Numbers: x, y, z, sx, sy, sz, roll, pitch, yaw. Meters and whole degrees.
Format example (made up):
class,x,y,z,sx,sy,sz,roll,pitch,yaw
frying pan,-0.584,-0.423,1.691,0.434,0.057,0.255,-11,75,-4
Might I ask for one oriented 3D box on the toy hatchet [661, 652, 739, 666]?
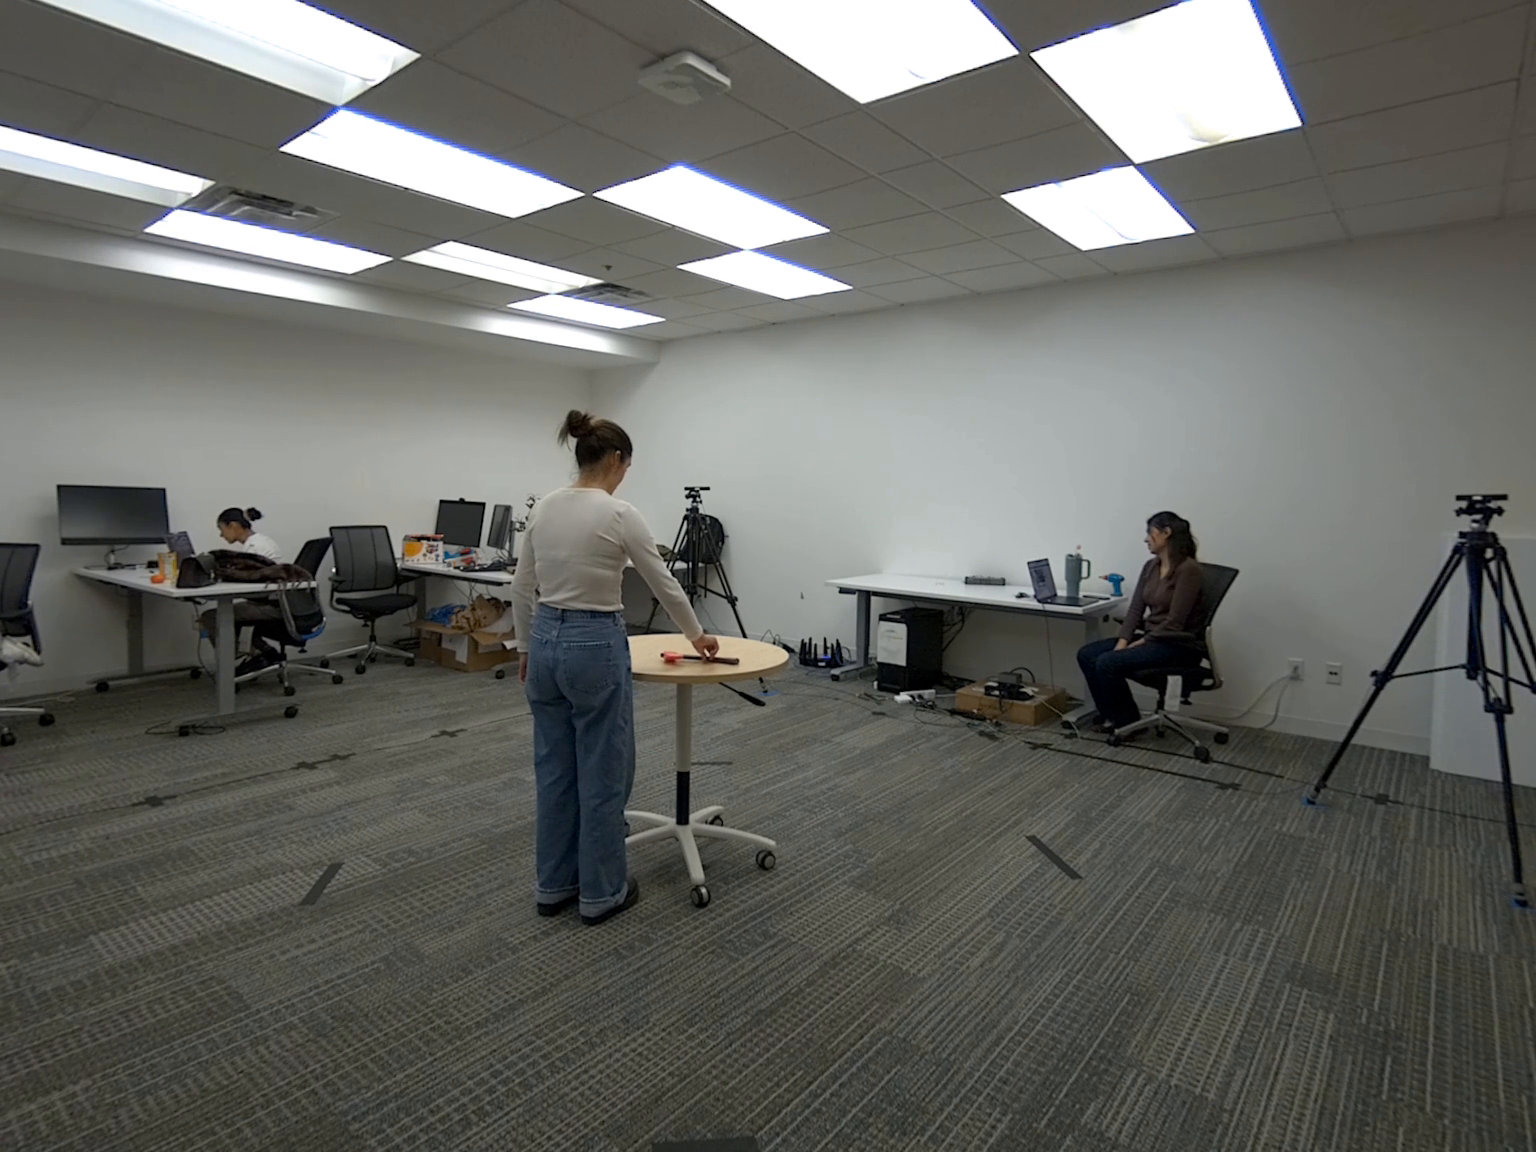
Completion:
class,x,y,z,sx,sy,sz,roll,pitch,yaw
toy hatchet,-0.244,0.282,2.949,0.275,0.030,0.128,2,-6,16
